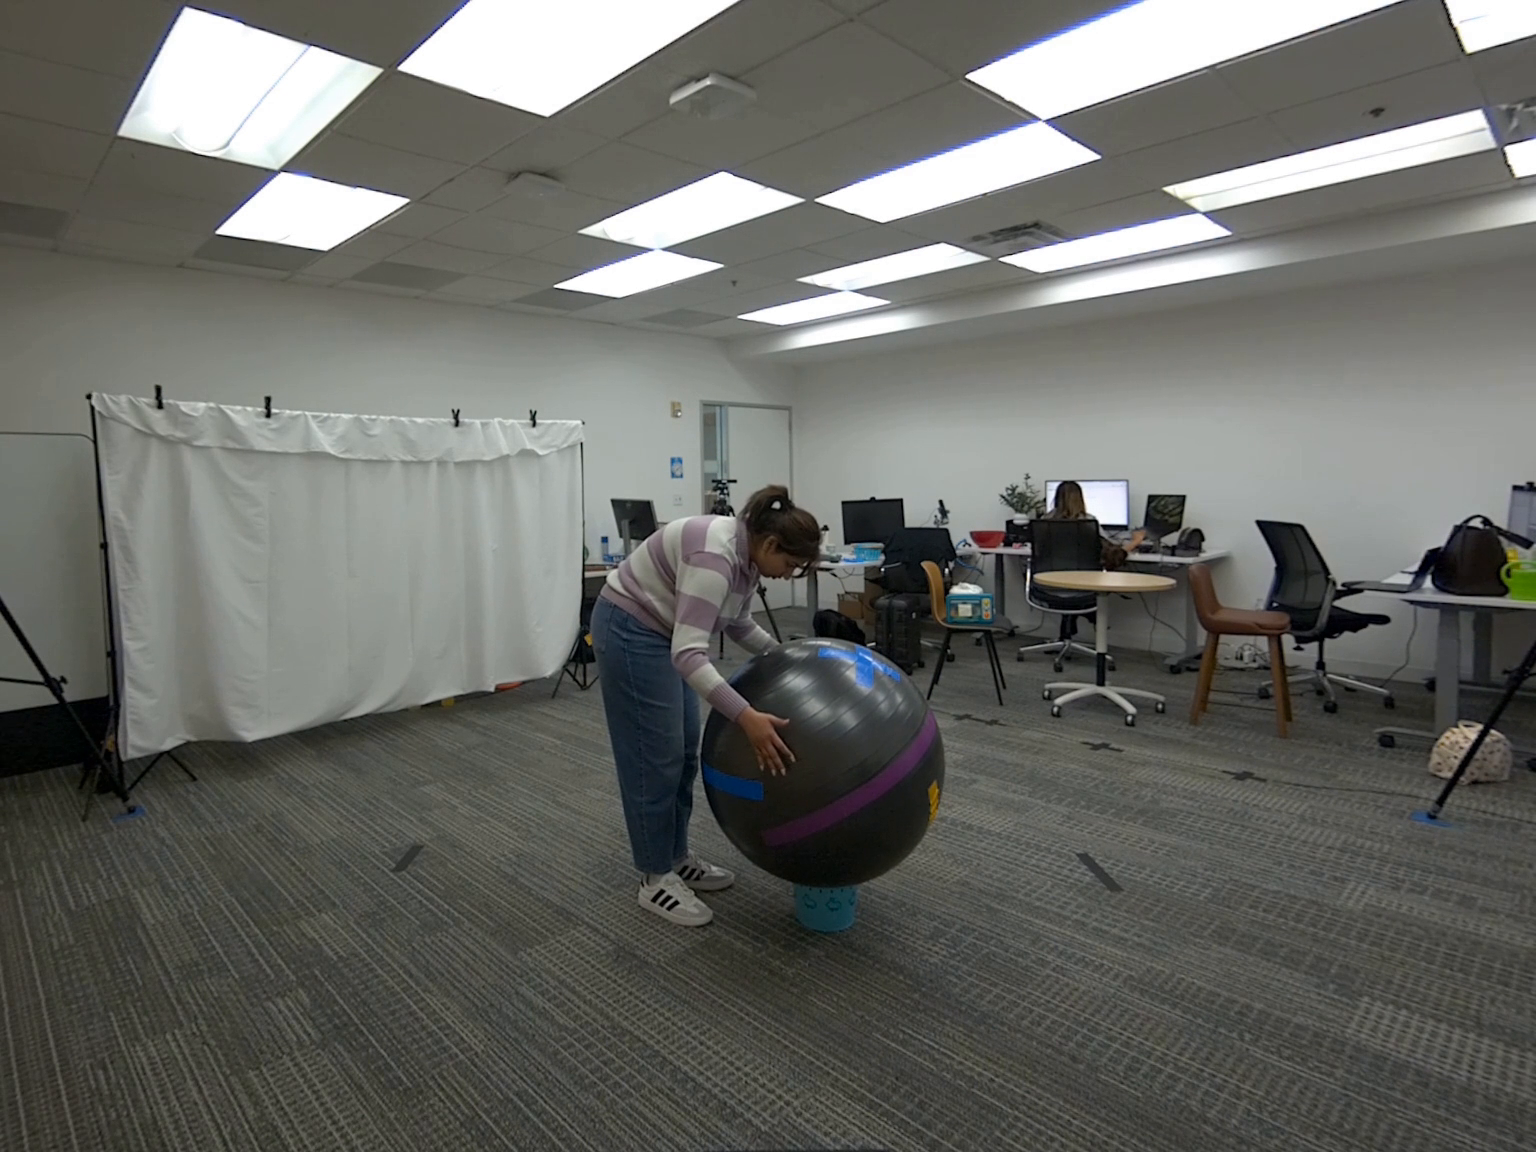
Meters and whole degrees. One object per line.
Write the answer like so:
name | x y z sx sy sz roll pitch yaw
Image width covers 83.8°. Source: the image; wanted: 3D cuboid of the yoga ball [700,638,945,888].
yoga ball | 0.172 0.587 2.680 0.757 0.755 0.762 -1 5 -2
